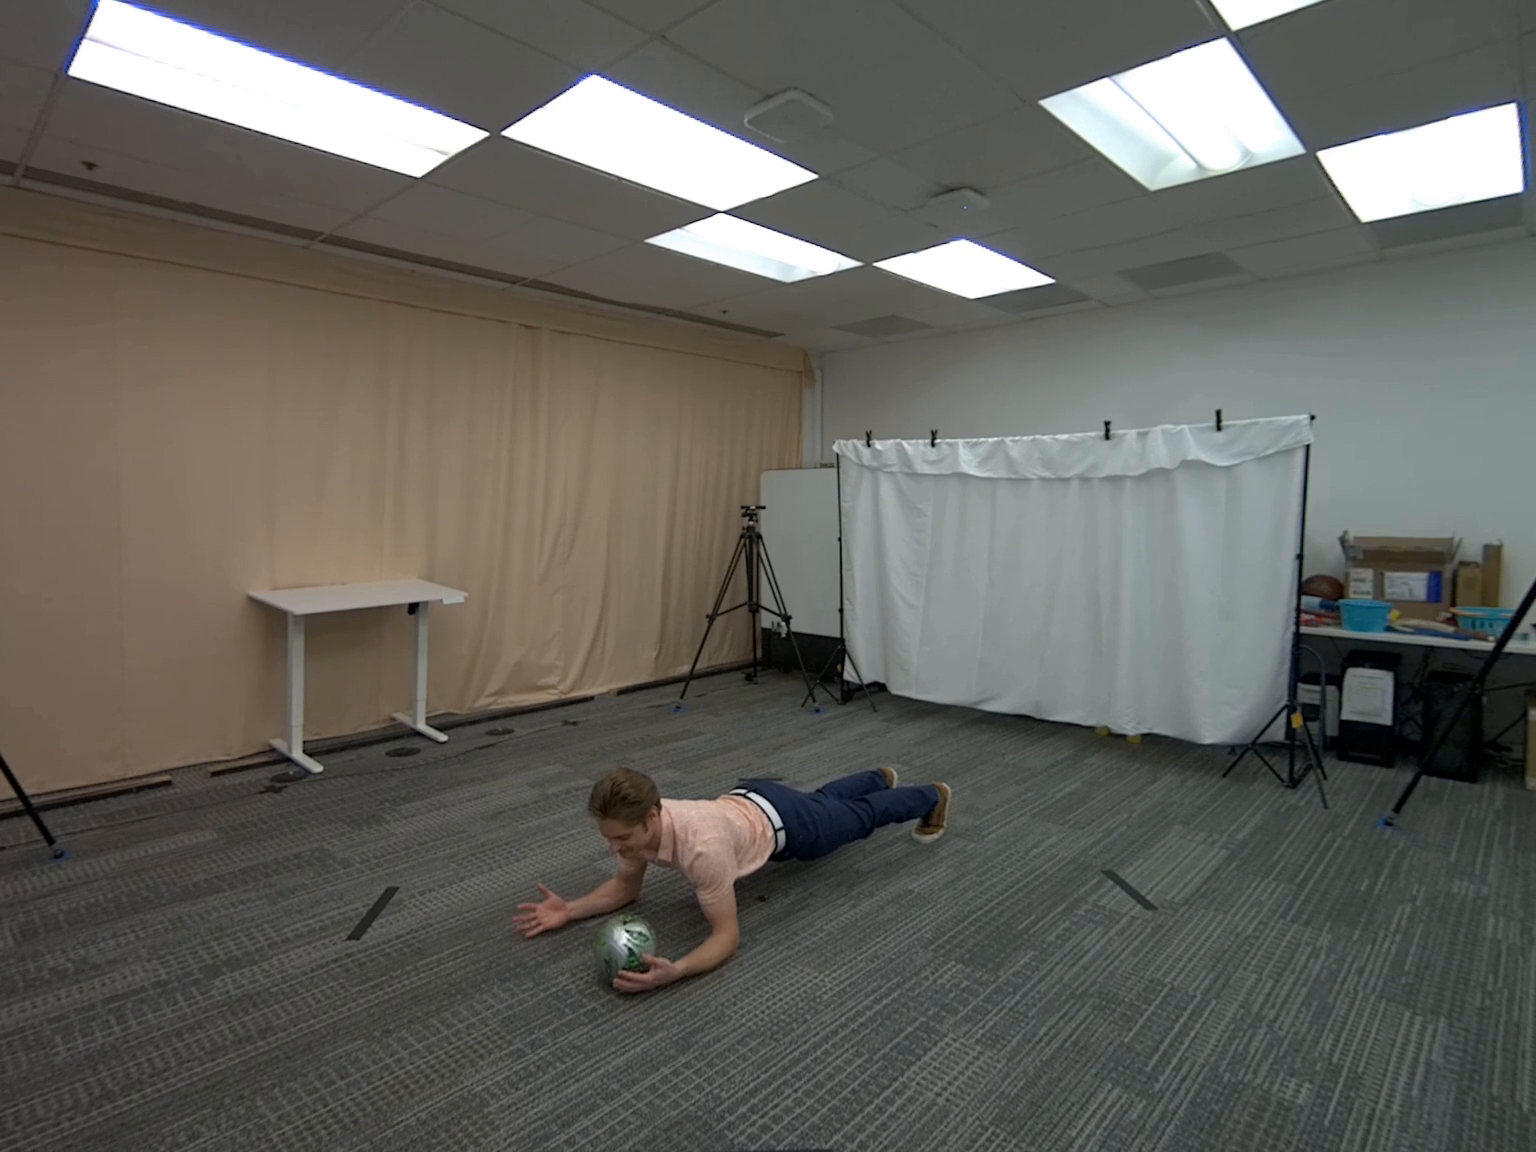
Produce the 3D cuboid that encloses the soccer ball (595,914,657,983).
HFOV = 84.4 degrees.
[{"bbox_3d":[-0.417,1.092,2.481,0.187,0.187,0.188,0,4,-2],"label":"soccer ball"}]
